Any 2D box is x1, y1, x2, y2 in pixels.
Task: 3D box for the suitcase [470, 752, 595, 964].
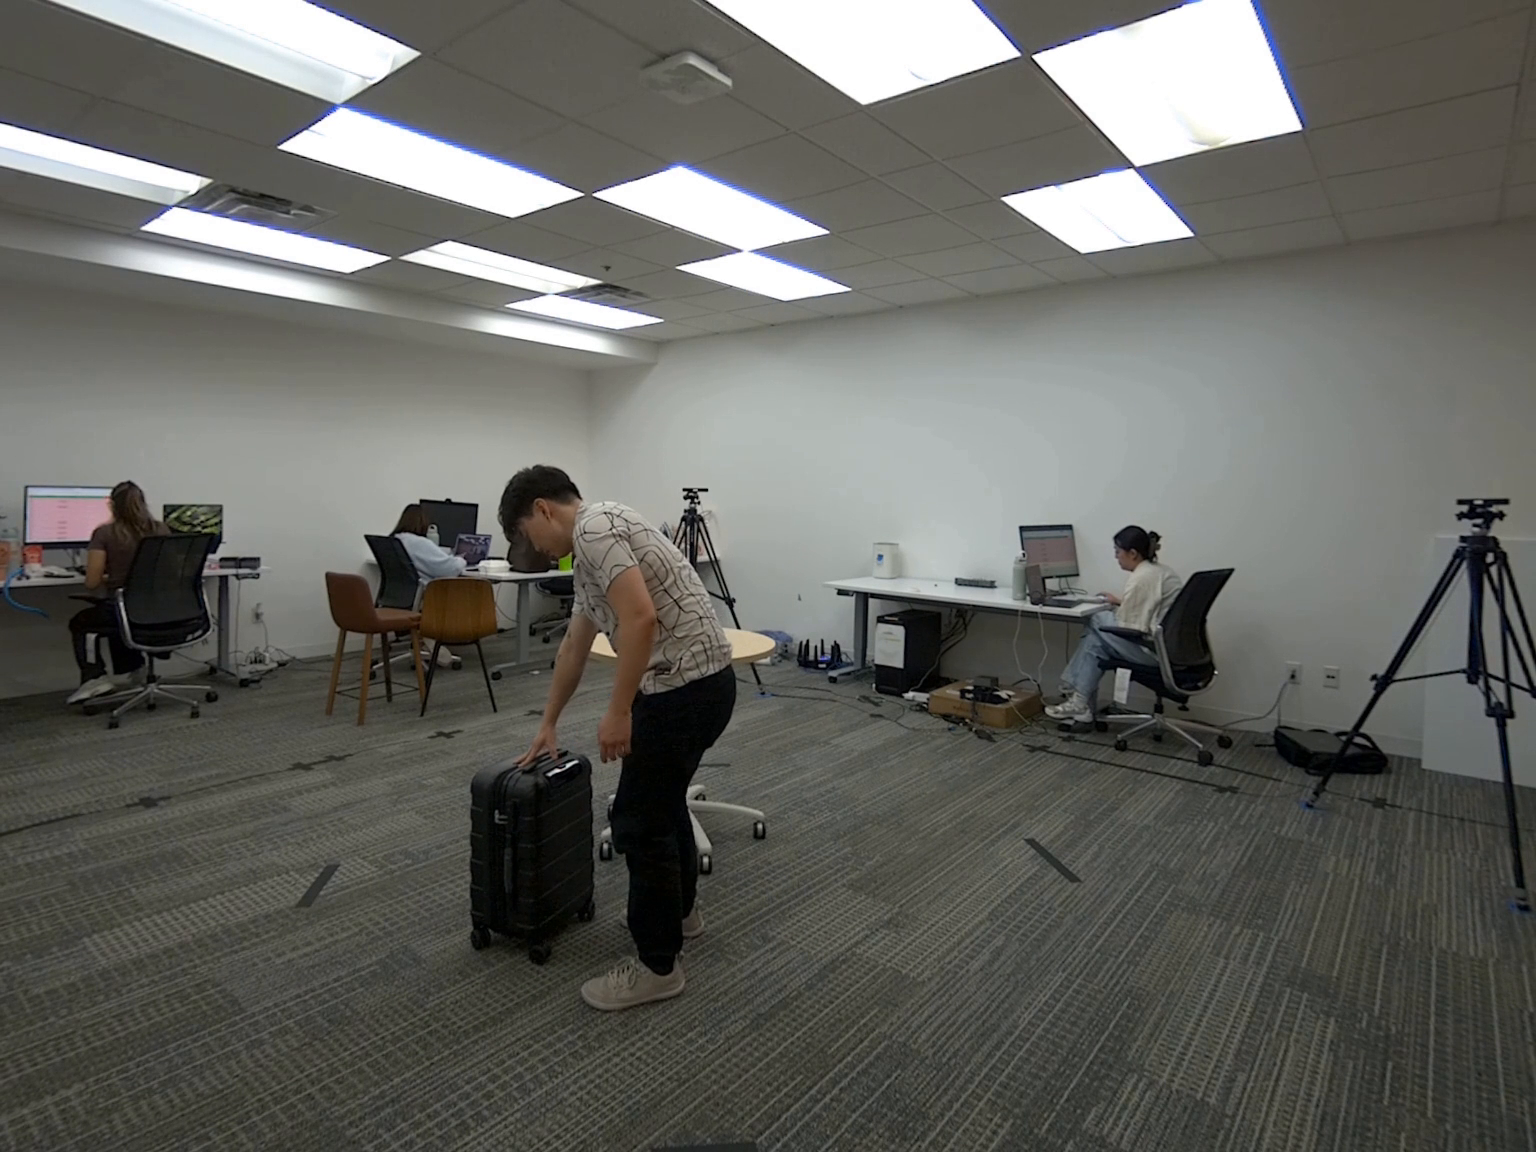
[{"bbox_3d":[-0.740,0.834,2.652,0.254,0.548,0.367,1,3,23],"label":"suitcase"}]
